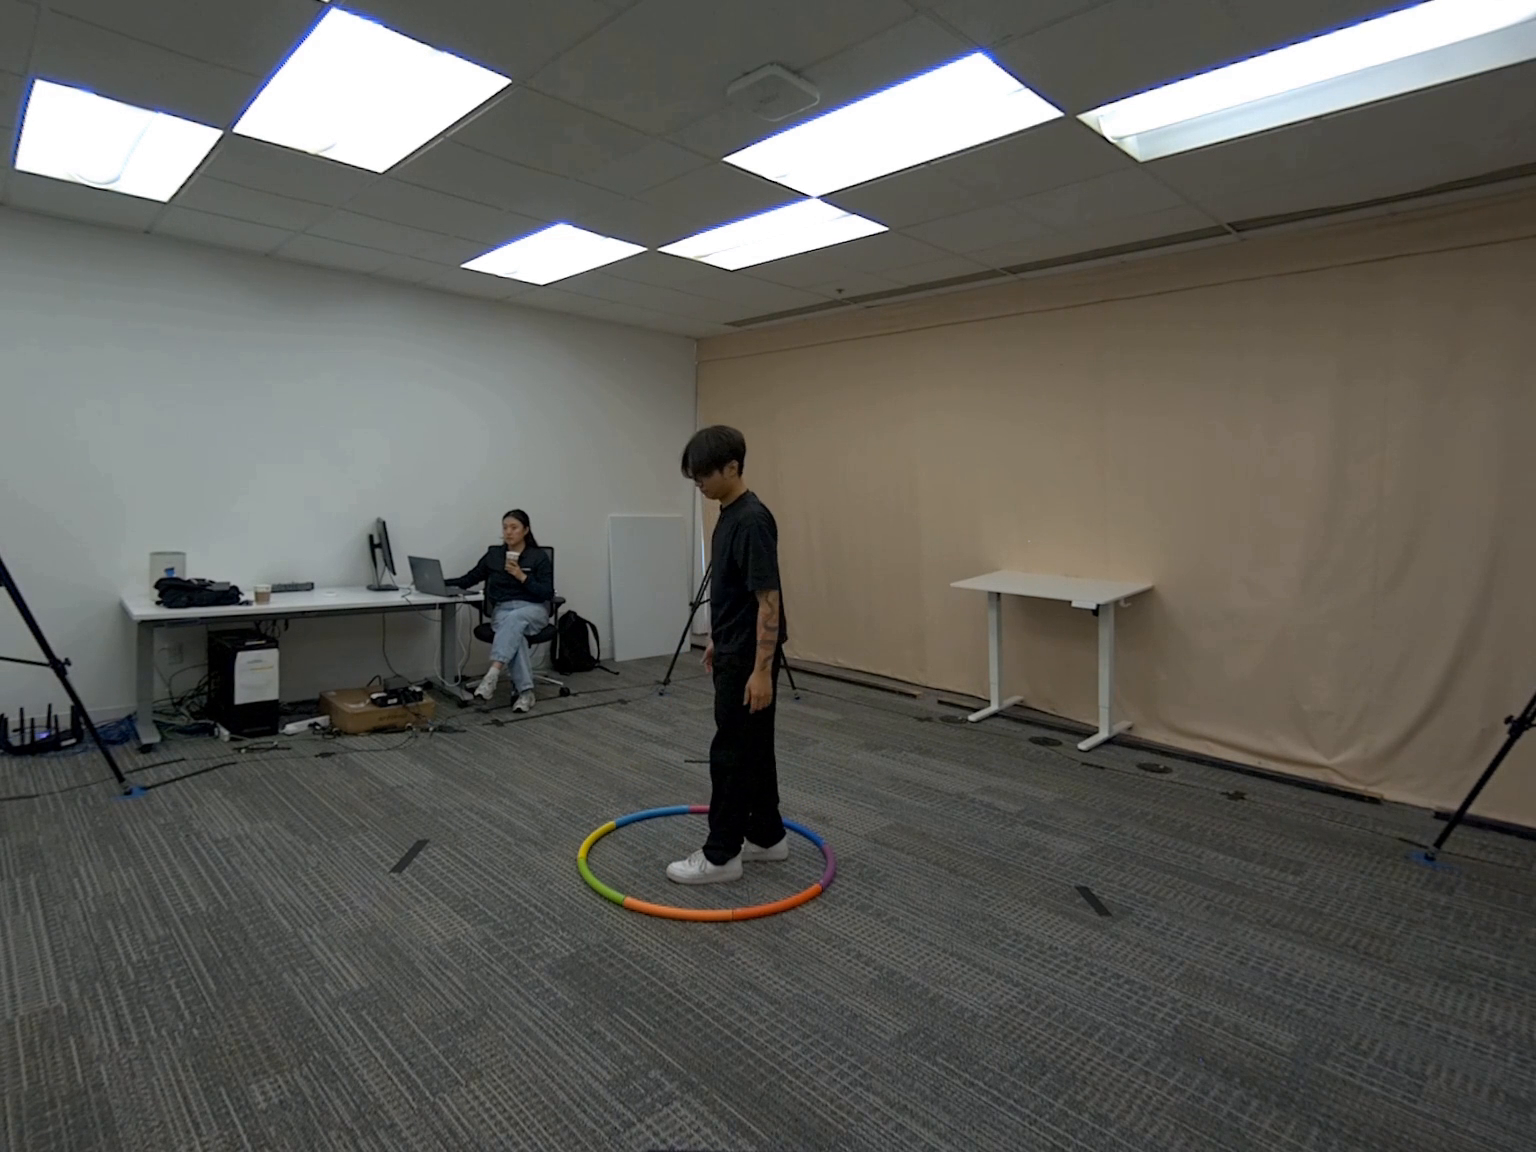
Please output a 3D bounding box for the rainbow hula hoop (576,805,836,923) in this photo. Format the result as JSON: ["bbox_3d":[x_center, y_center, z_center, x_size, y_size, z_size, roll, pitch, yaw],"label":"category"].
[{"bbox_3d":[-0.239,1.061,3.237,0.978,0.035,0.982,1,5,-1],"label":"rainbow hula hoop"}]
